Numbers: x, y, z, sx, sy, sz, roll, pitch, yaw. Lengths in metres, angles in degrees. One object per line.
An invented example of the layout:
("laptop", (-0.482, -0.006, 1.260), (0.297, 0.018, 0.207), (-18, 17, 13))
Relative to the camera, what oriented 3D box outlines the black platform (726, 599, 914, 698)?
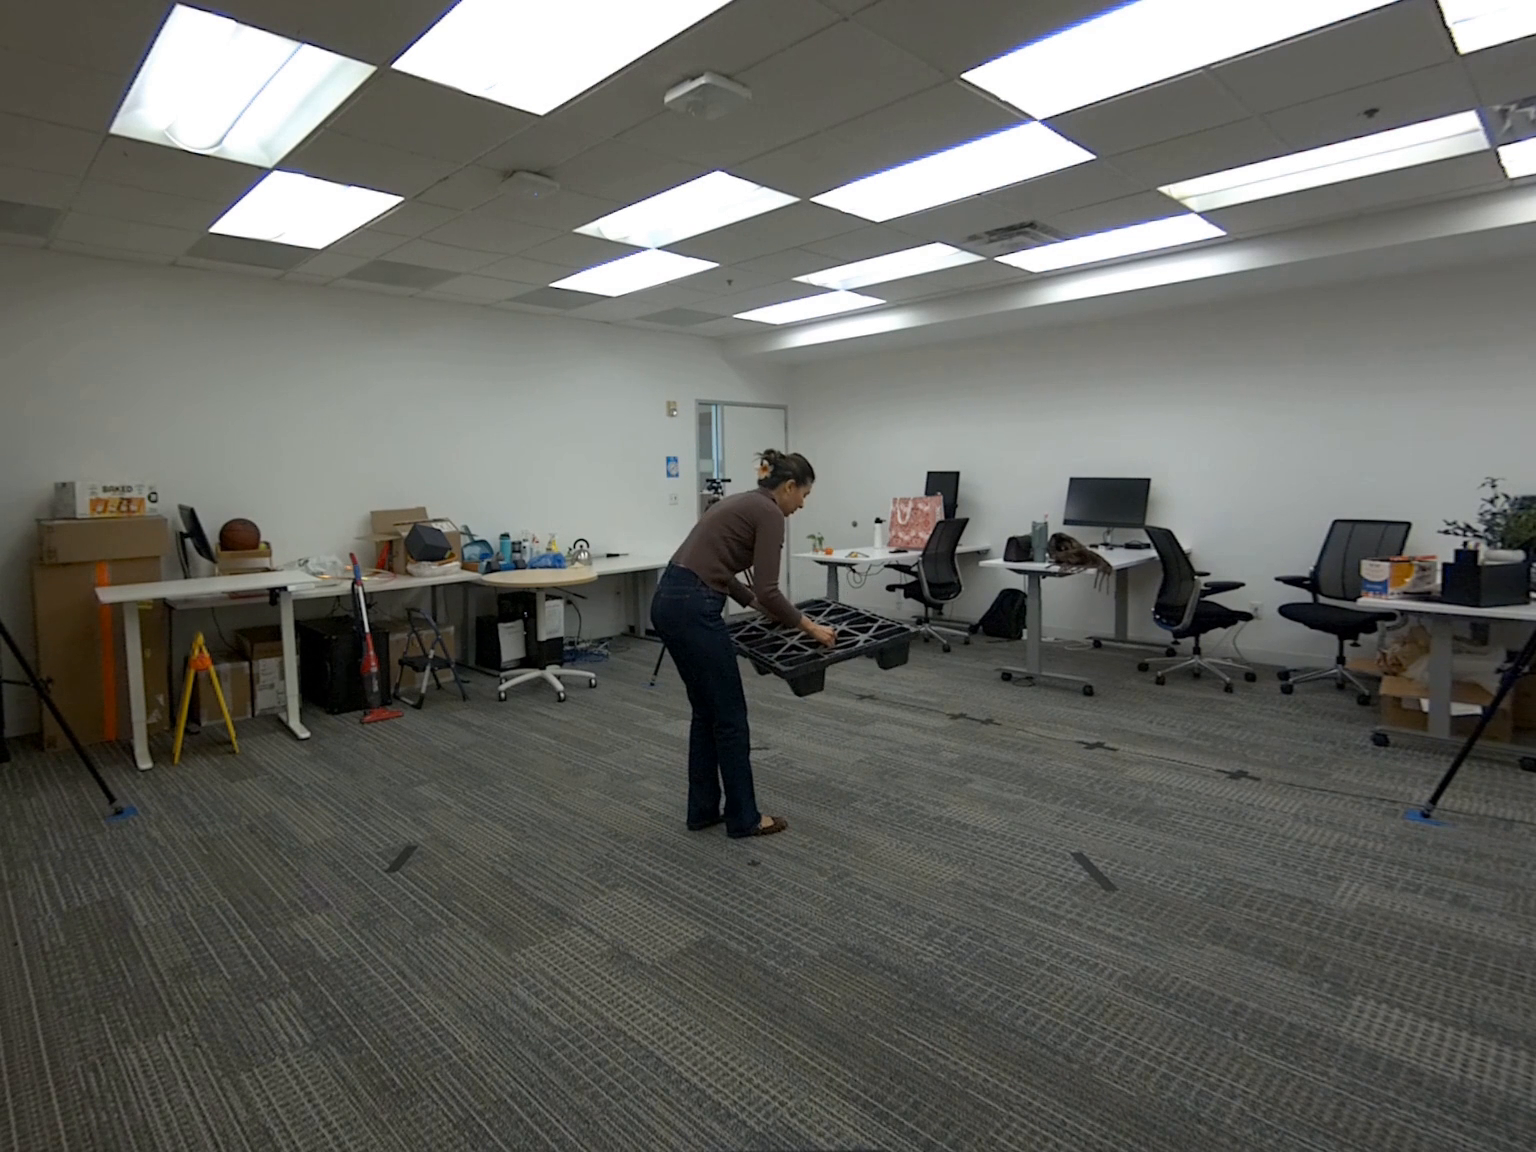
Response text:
("black platform", (0.170, 0.285, 3.539), (0.596, 0.142, 0.826), (-14, 13, -21))
